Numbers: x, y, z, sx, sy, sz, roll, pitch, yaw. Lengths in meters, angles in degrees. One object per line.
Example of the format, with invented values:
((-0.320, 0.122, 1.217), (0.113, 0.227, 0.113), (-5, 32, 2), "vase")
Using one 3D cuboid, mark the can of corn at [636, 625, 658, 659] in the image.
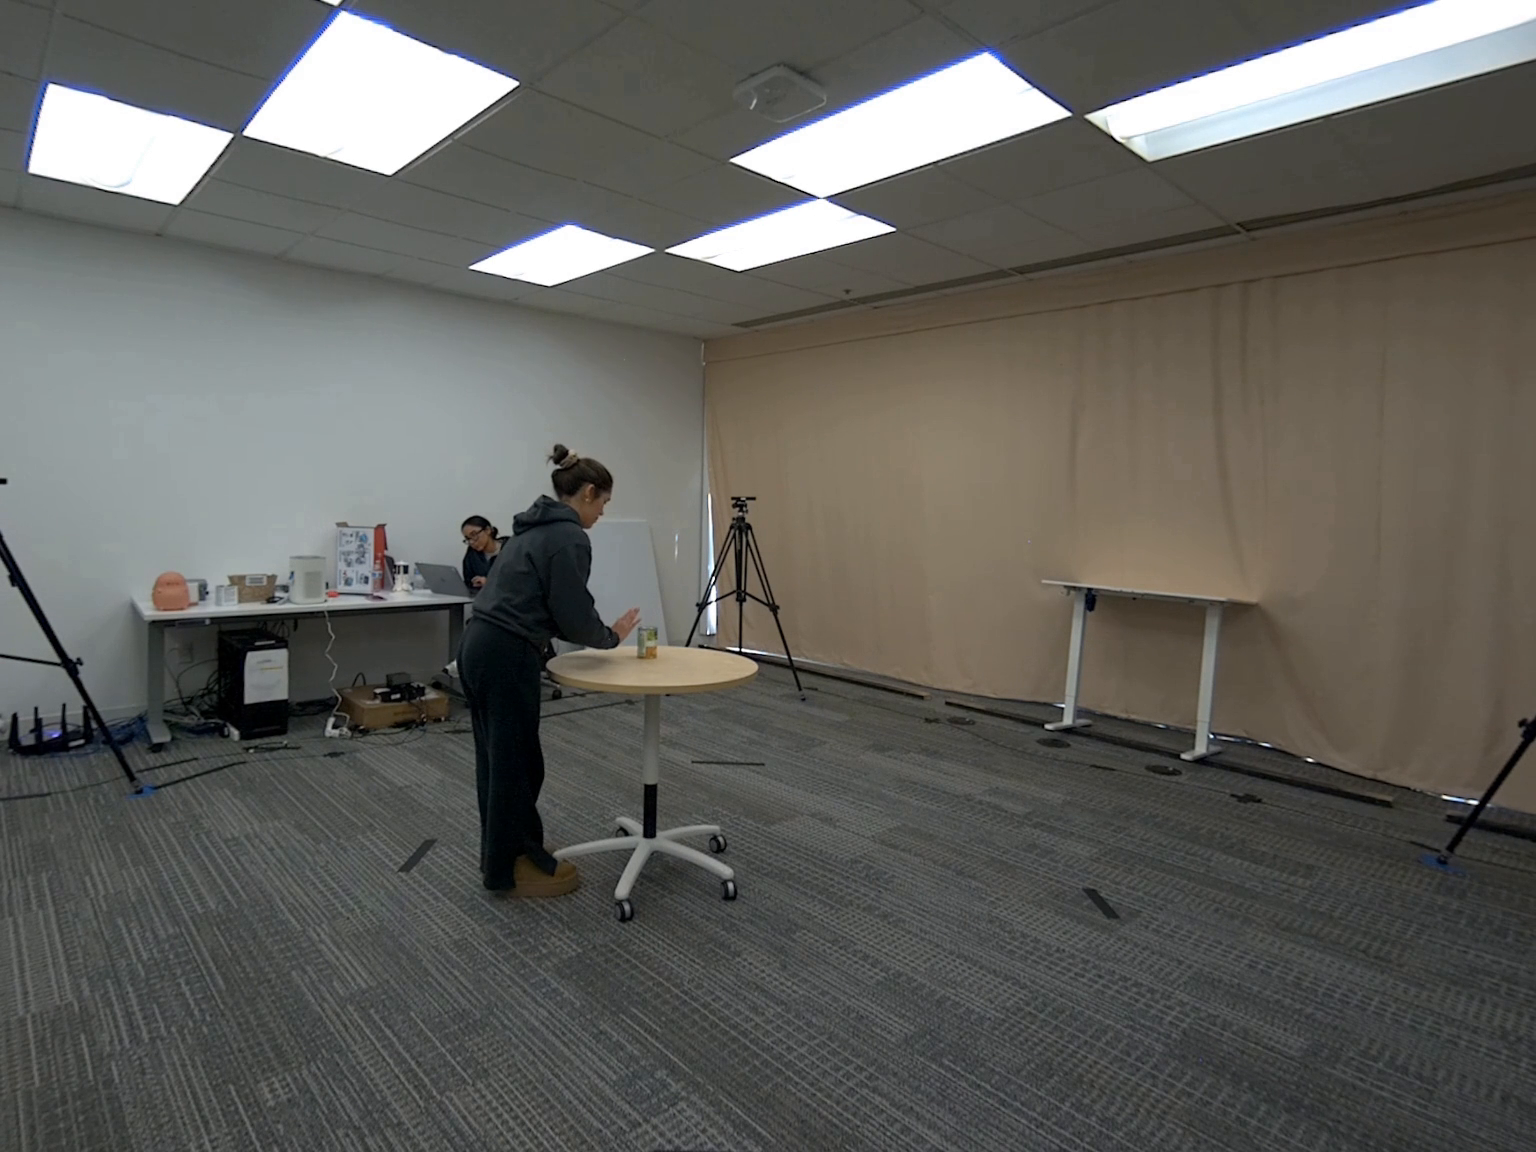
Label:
((-0.476, 0.253, 3.197), (0.074, 0.111, 0.074), (-1, 2, -1), "can of corn")
